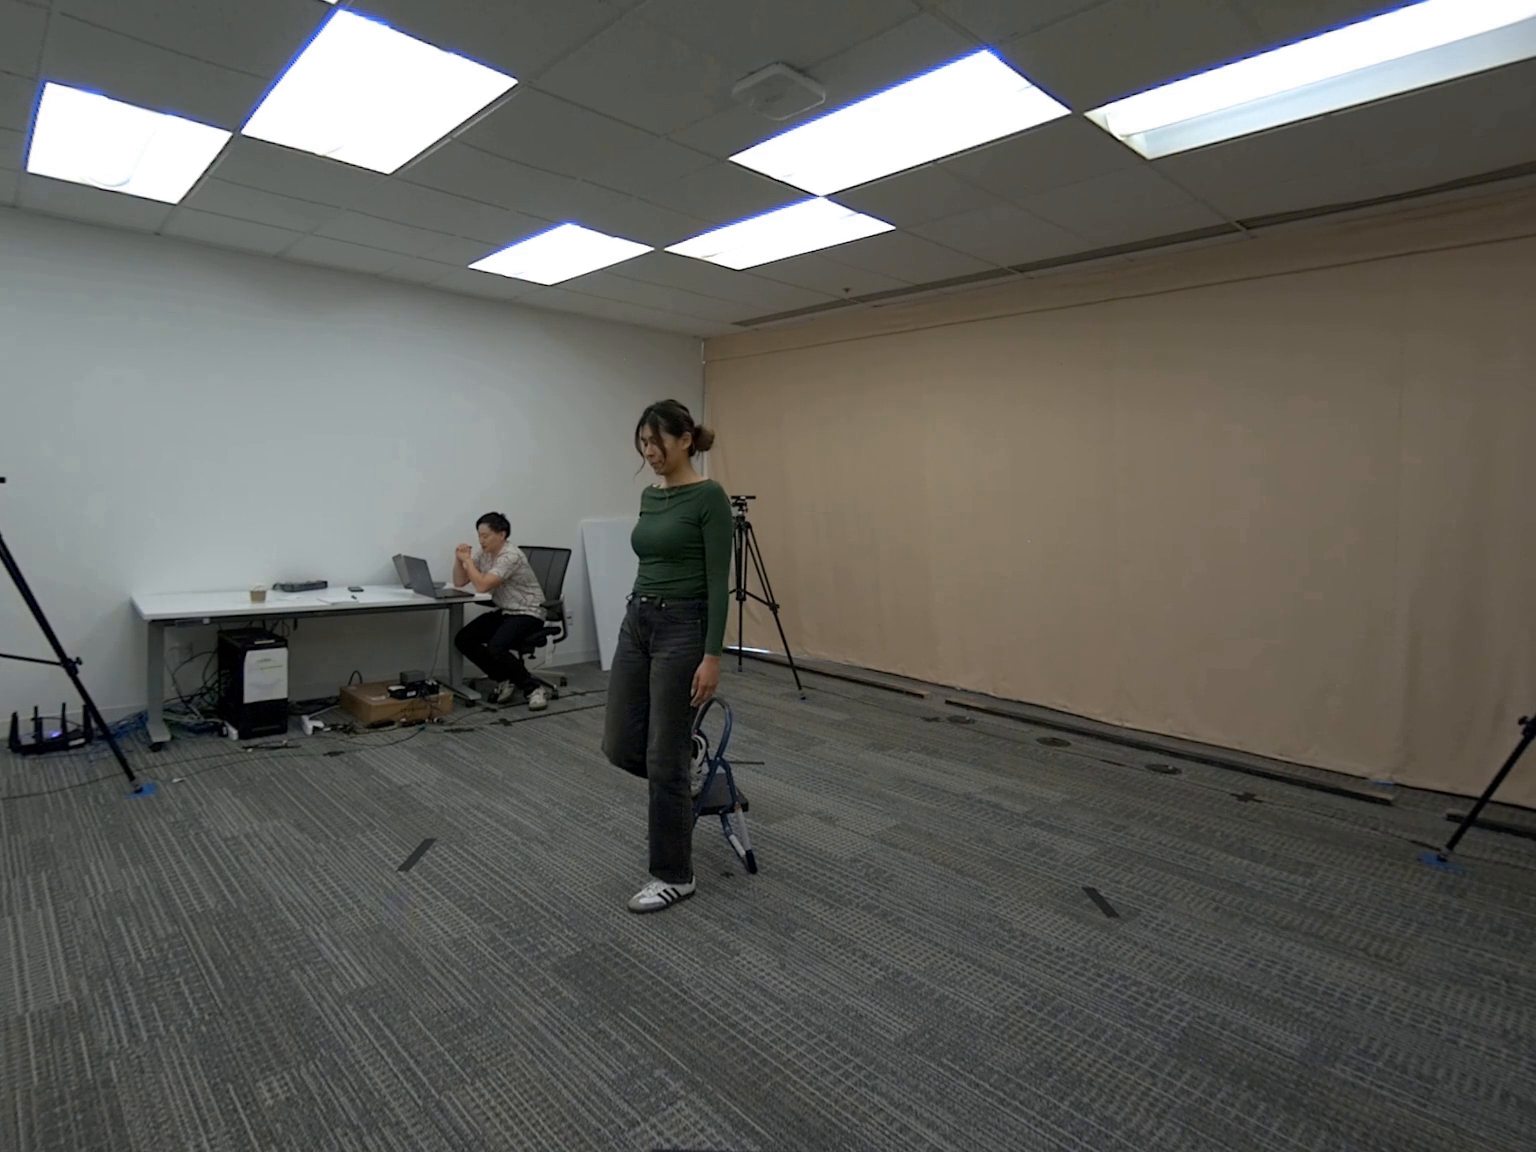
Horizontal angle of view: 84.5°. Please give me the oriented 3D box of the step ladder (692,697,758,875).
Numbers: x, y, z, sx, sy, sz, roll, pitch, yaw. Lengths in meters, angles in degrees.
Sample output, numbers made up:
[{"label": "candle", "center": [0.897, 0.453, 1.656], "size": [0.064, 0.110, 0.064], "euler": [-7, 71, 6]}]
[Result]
[{"label": "step ladder", "center": [-0.260, 0.783, 3.250], "size": [0.345, 0.604, 0.437], "euler": [1, 4, -16]}]
